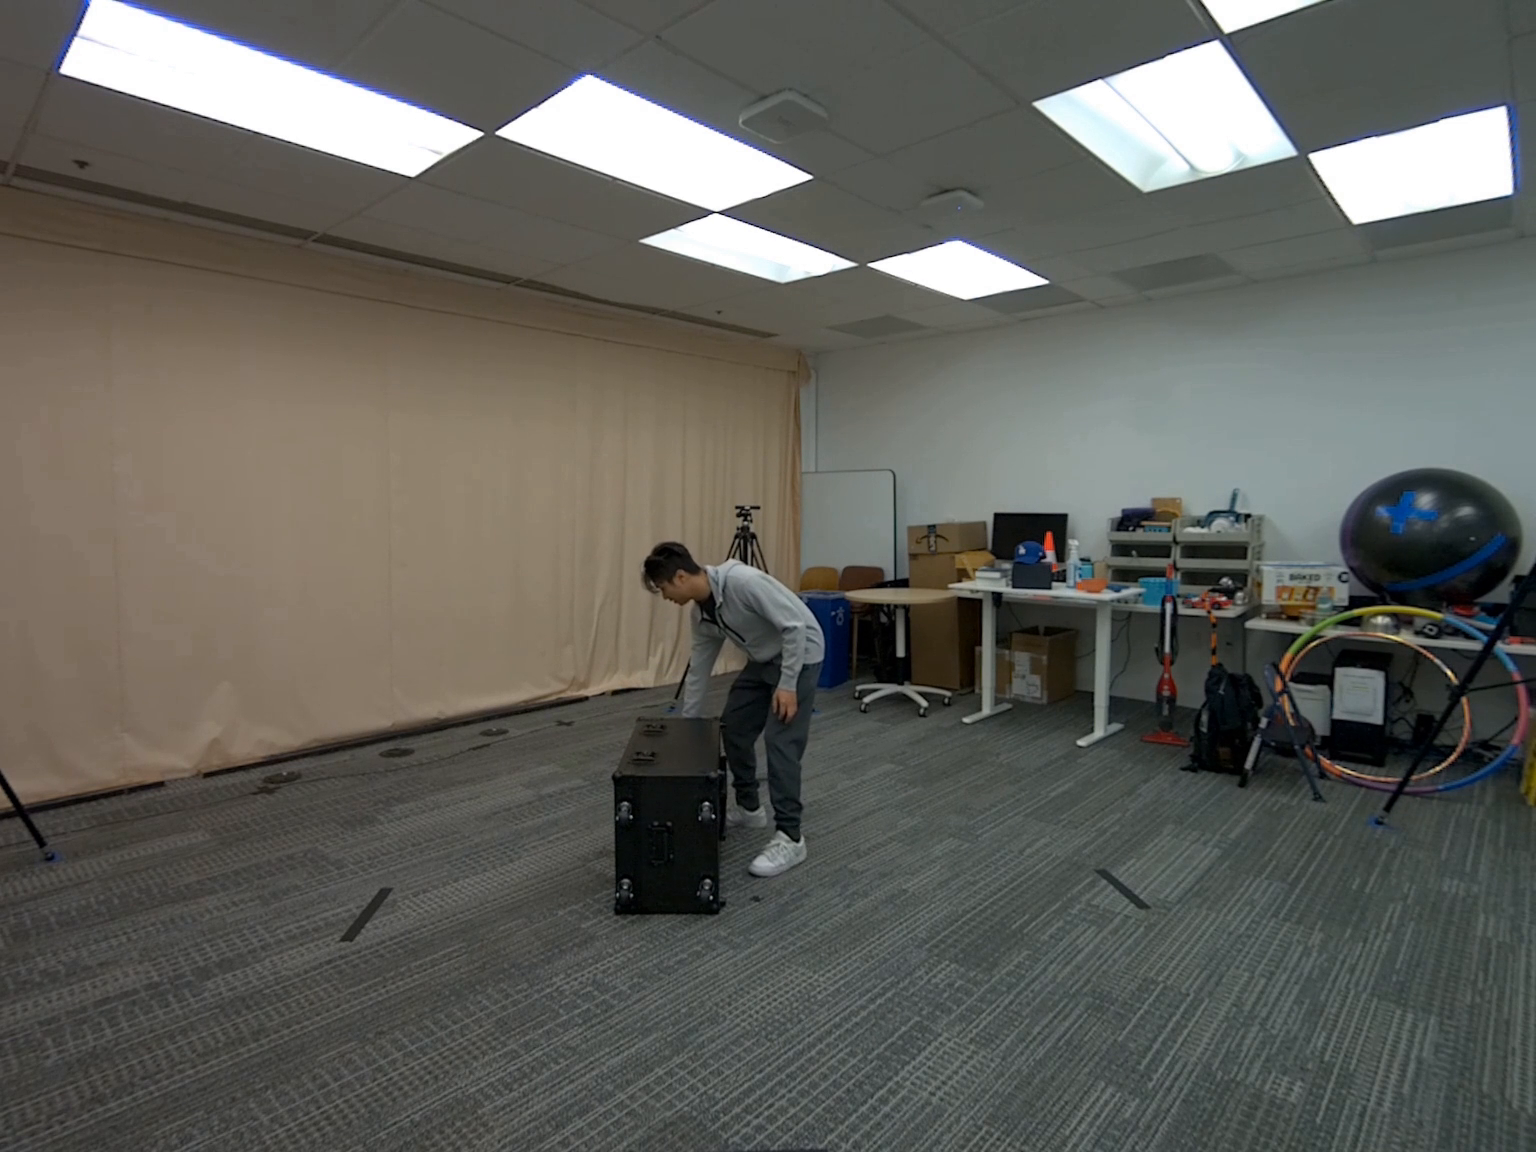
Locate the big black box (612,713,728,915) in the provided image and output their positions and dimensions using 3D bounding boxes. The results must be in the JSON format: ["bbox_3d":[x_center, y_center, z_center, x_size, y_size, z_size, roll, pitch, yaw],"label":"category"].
[{"bbox_3d":[-0.355,0.883,3.209,0.396,0.520,0.863,-1,4,-1],"label":"big black box"}]
